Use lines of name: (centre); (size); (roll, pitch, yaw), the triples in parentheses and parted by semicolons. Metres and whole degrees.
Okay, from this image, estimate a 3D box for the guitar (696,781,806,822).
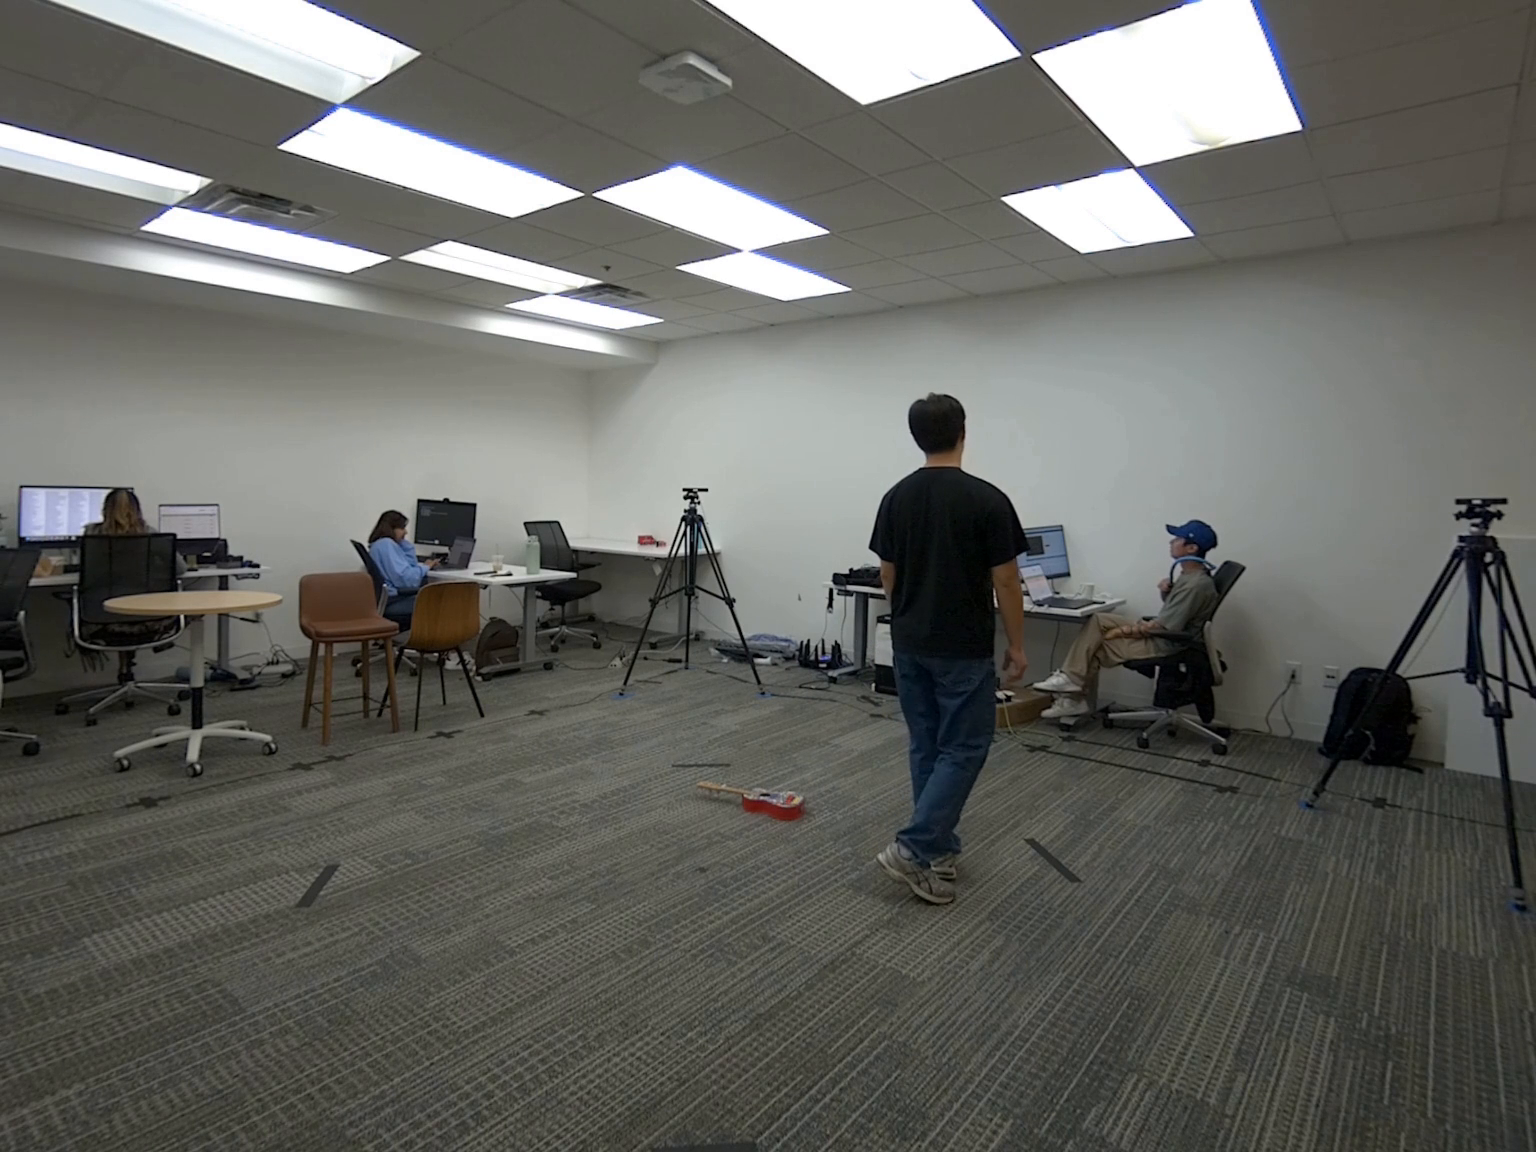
guitar: (-0.080, 0.973, 3.776); (0.513, 0.070, 0.188); (5, 6, 31)
